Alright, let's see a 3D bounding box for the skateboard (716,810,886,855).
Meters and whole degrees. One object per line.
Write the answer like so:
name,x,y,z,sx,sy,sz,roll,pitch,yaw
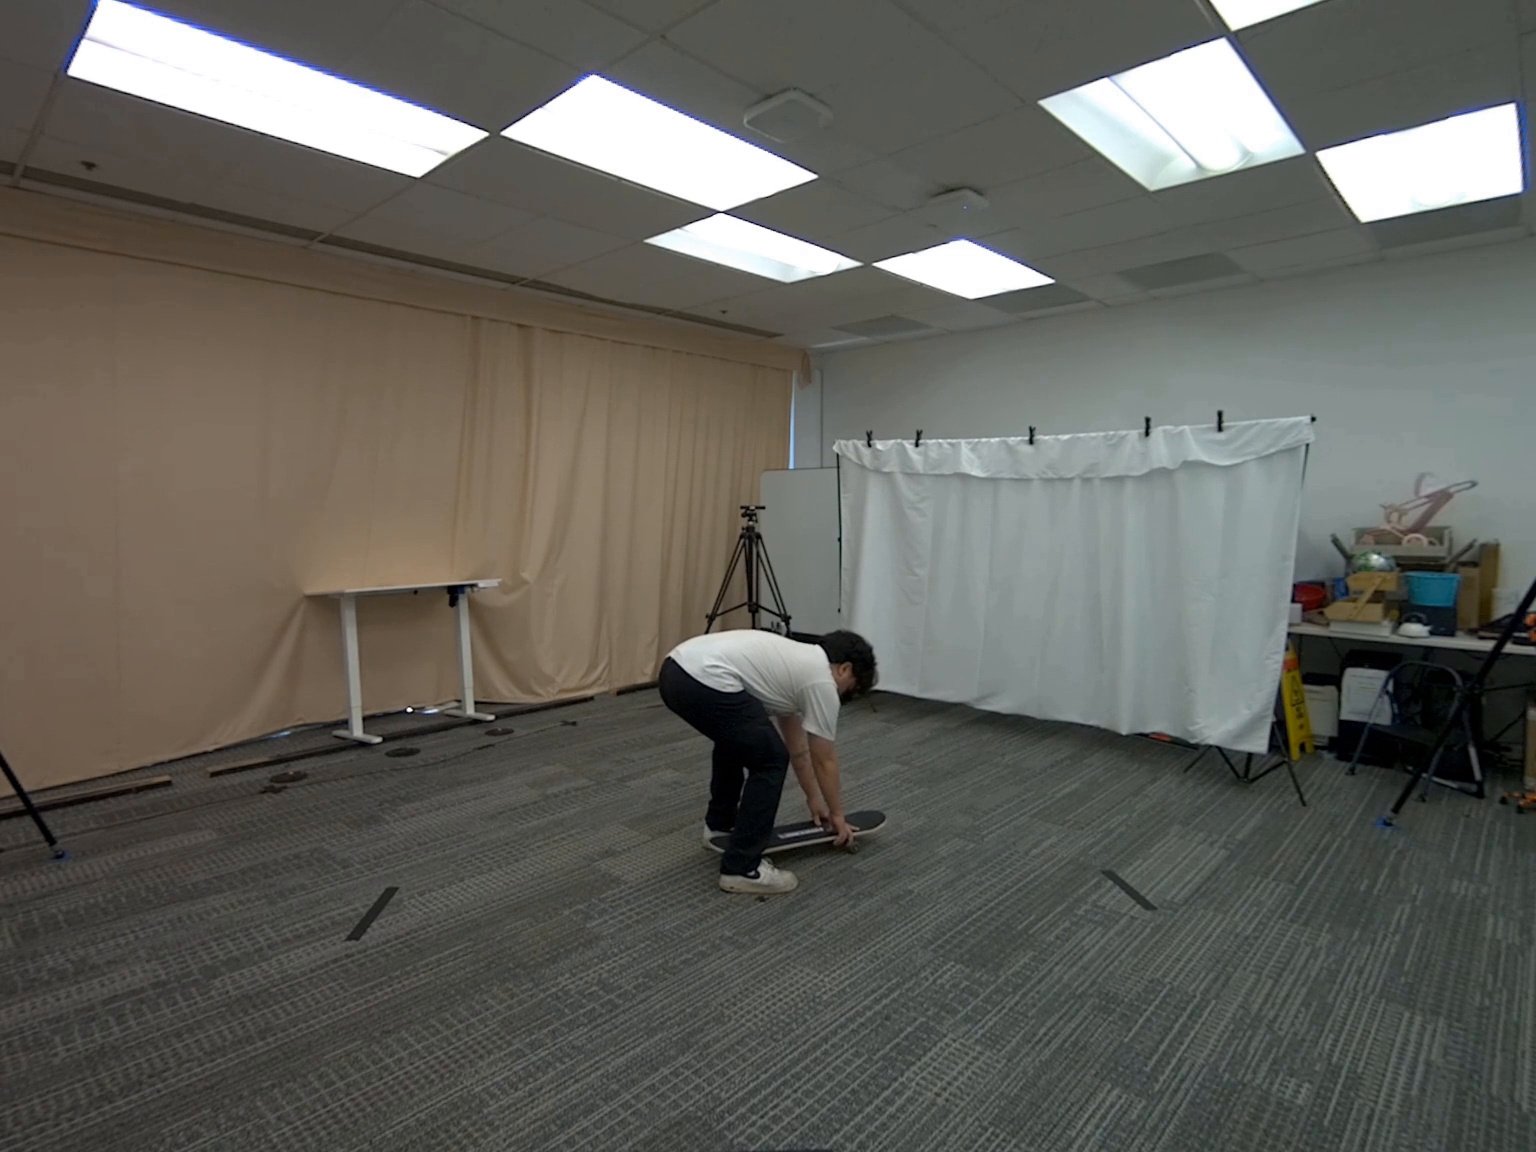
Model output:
skateboard,0.126,1.059,3.357,0.767,0.110,0.198,-2,5,-25
